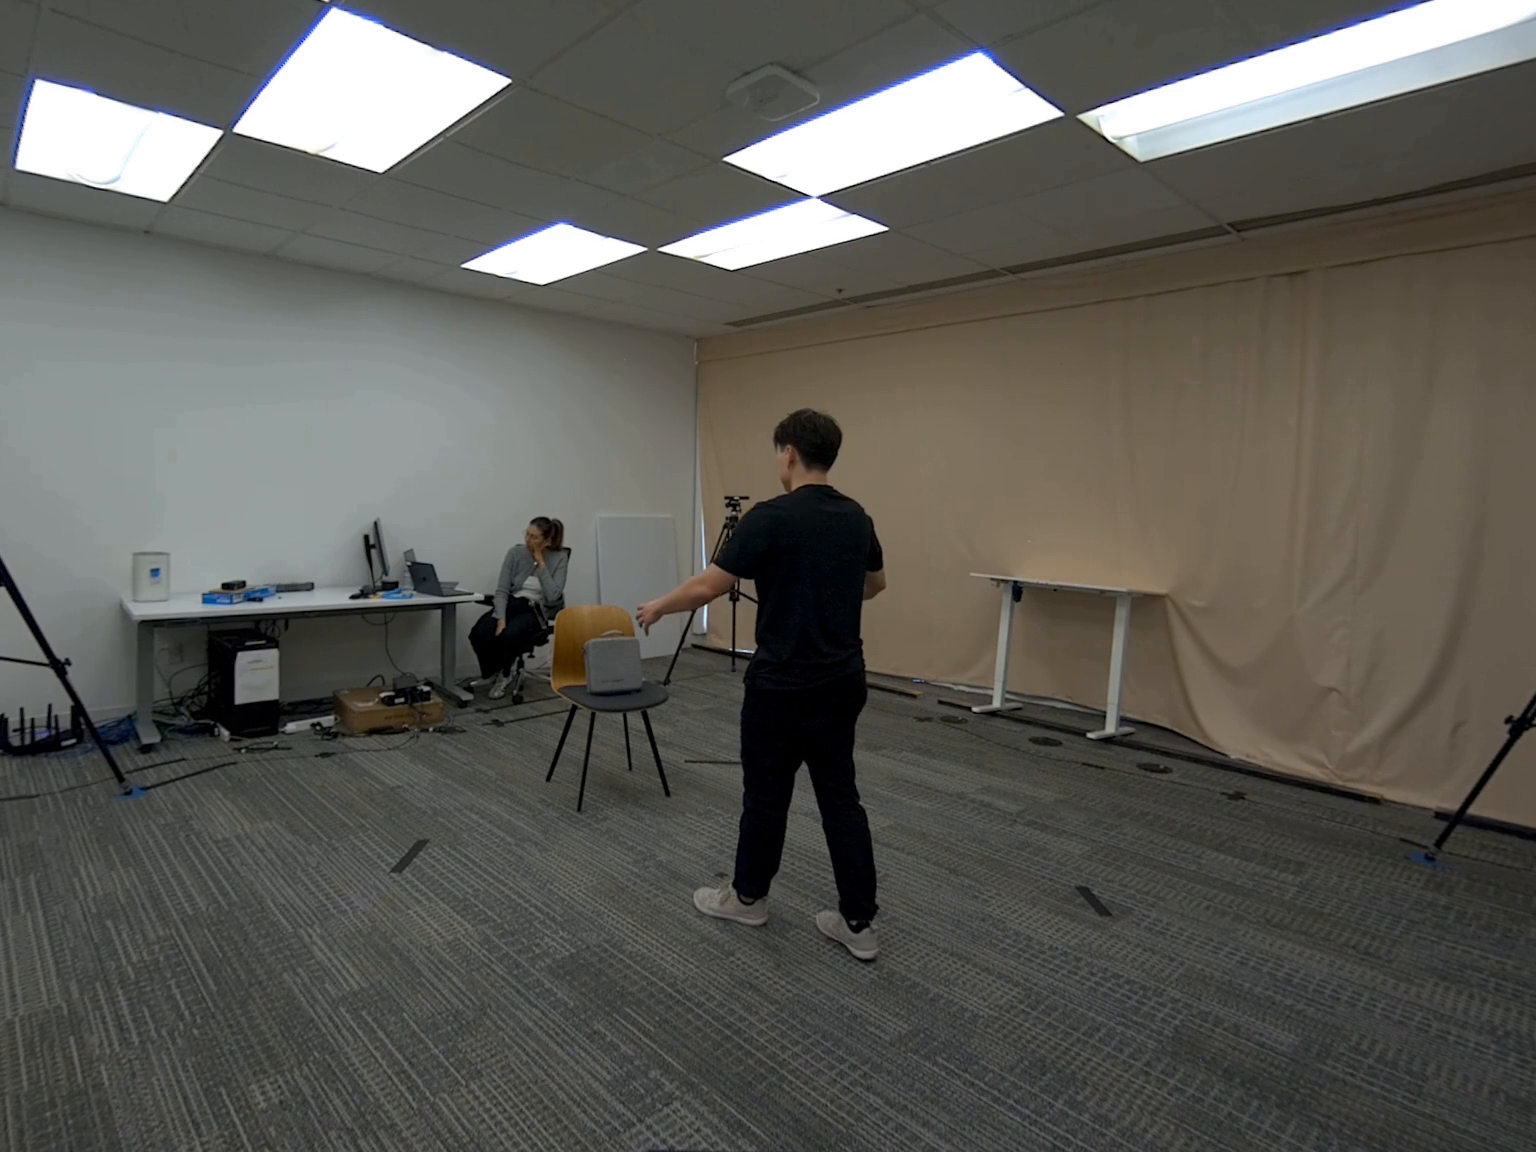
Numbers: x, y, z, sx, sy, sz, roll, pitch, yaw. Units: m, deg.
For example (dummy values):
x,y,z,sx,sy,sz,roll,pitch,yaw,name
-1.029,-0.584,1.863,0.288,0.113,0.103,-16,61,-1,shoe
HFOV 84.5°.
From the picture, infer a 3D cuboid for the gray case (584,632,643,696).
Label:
x,y,z,sx,sy,sz,roll,pitch,yaw,name
-0.731,0.410,3.913,0.253,0.263,0.105,-2,-12,-22,gray case
